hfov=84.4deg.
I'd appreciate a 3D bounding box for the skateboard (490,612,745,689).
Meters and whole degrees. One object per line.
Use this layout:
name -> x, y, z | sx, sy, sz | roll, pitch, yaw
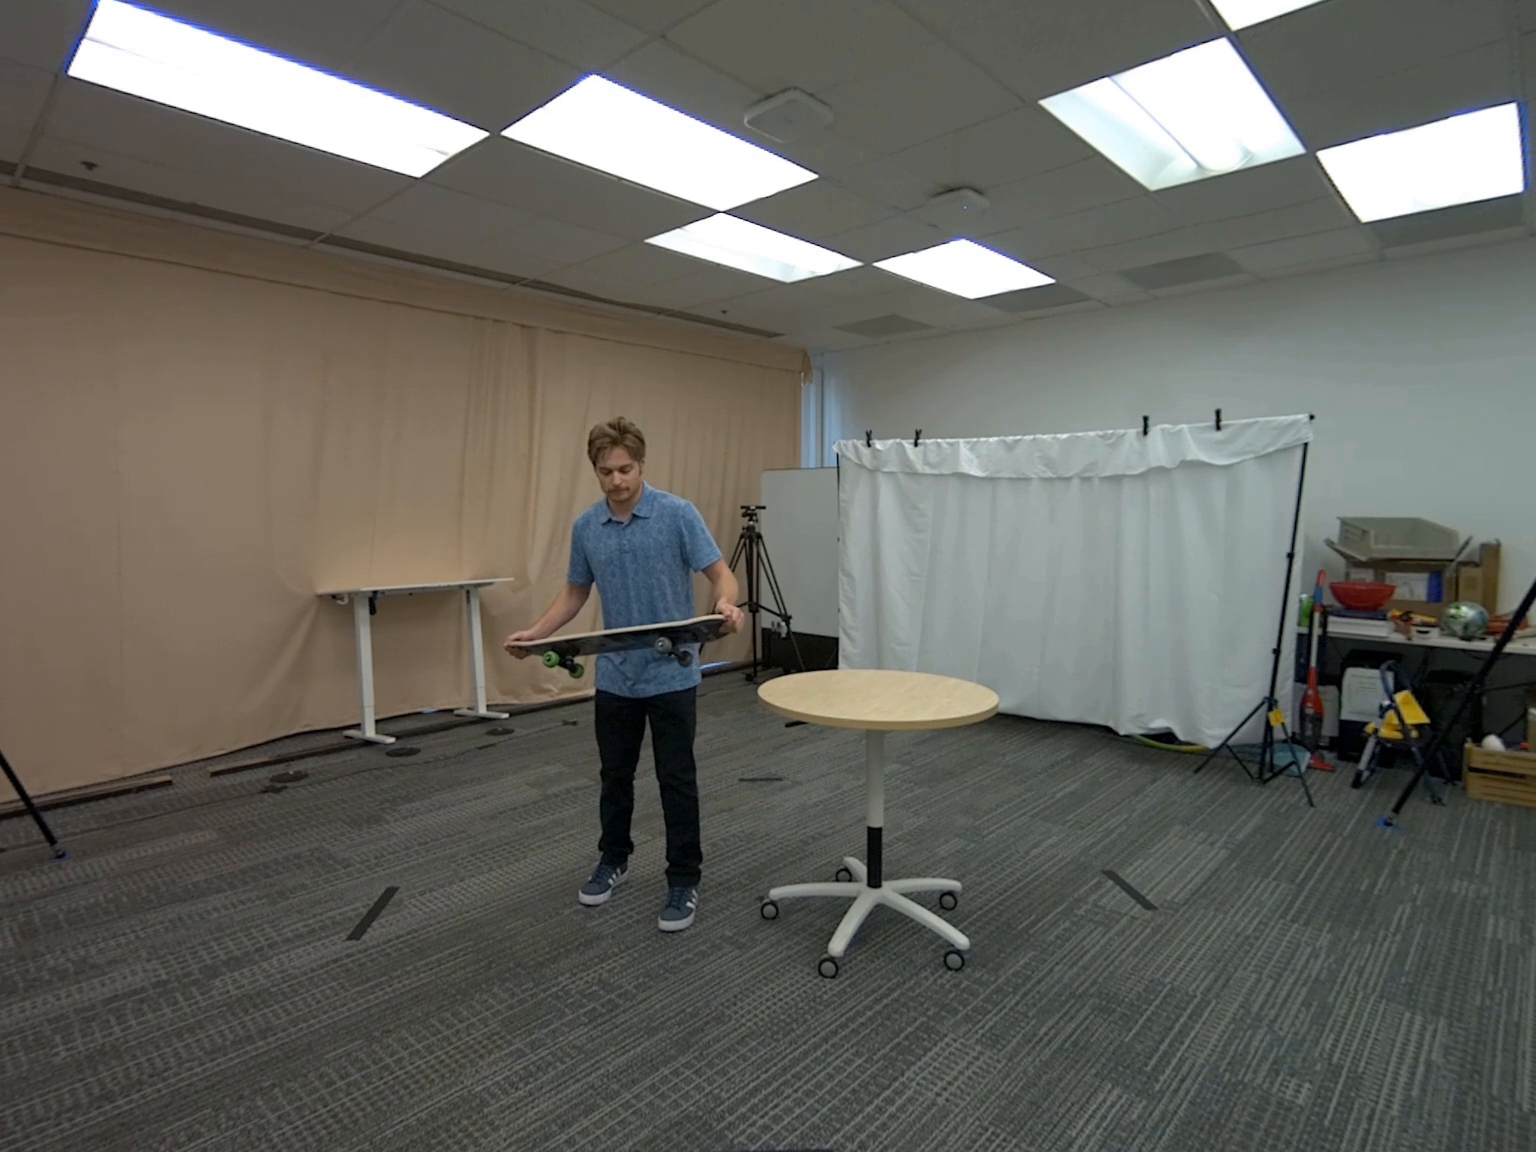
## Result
skateboard -> -0.479, 0.239, 2.649 | 0.800, 0.112, 0.187 | -8, -24, 20
